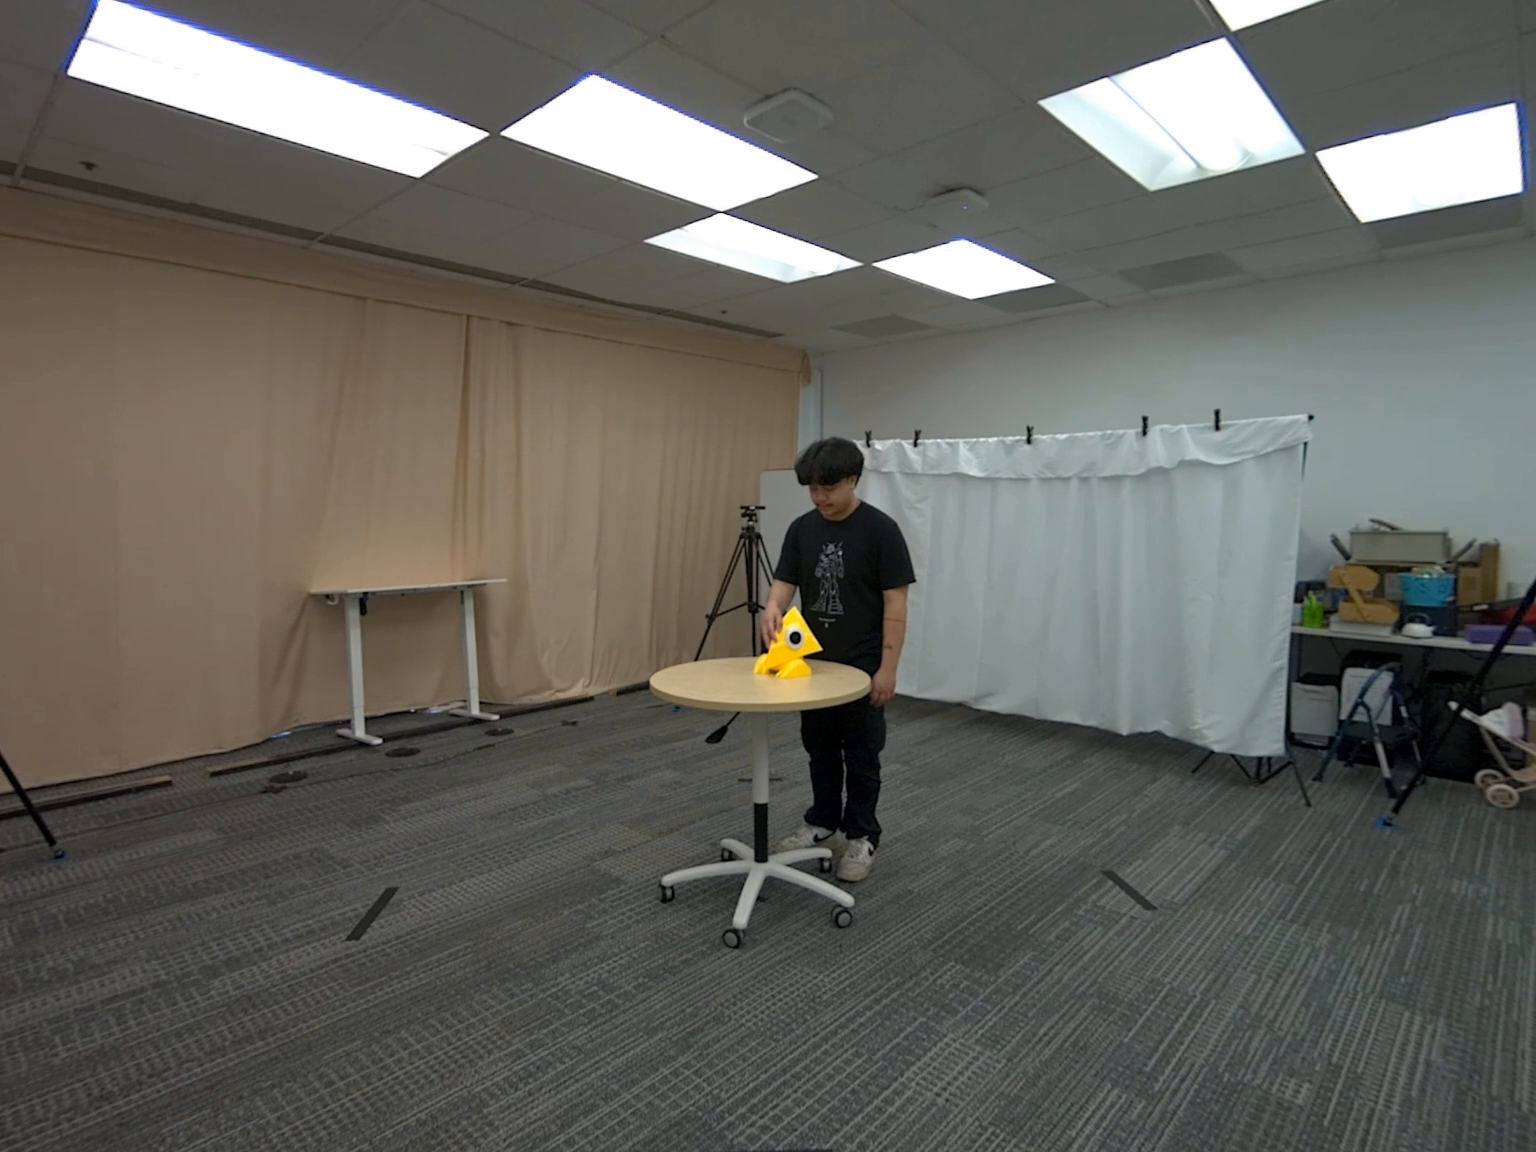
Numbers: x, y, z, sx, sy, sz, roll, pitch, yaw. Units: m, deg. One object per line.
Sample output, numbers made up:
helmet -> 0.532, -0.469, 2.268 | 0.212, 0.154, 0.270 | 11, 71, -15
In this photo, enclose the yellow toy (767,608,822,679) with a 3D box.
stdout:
yellow toy -> 0.064, 0.231, 3.022 | 0.211, 0.230, 0.187 | 4, 5, 44
